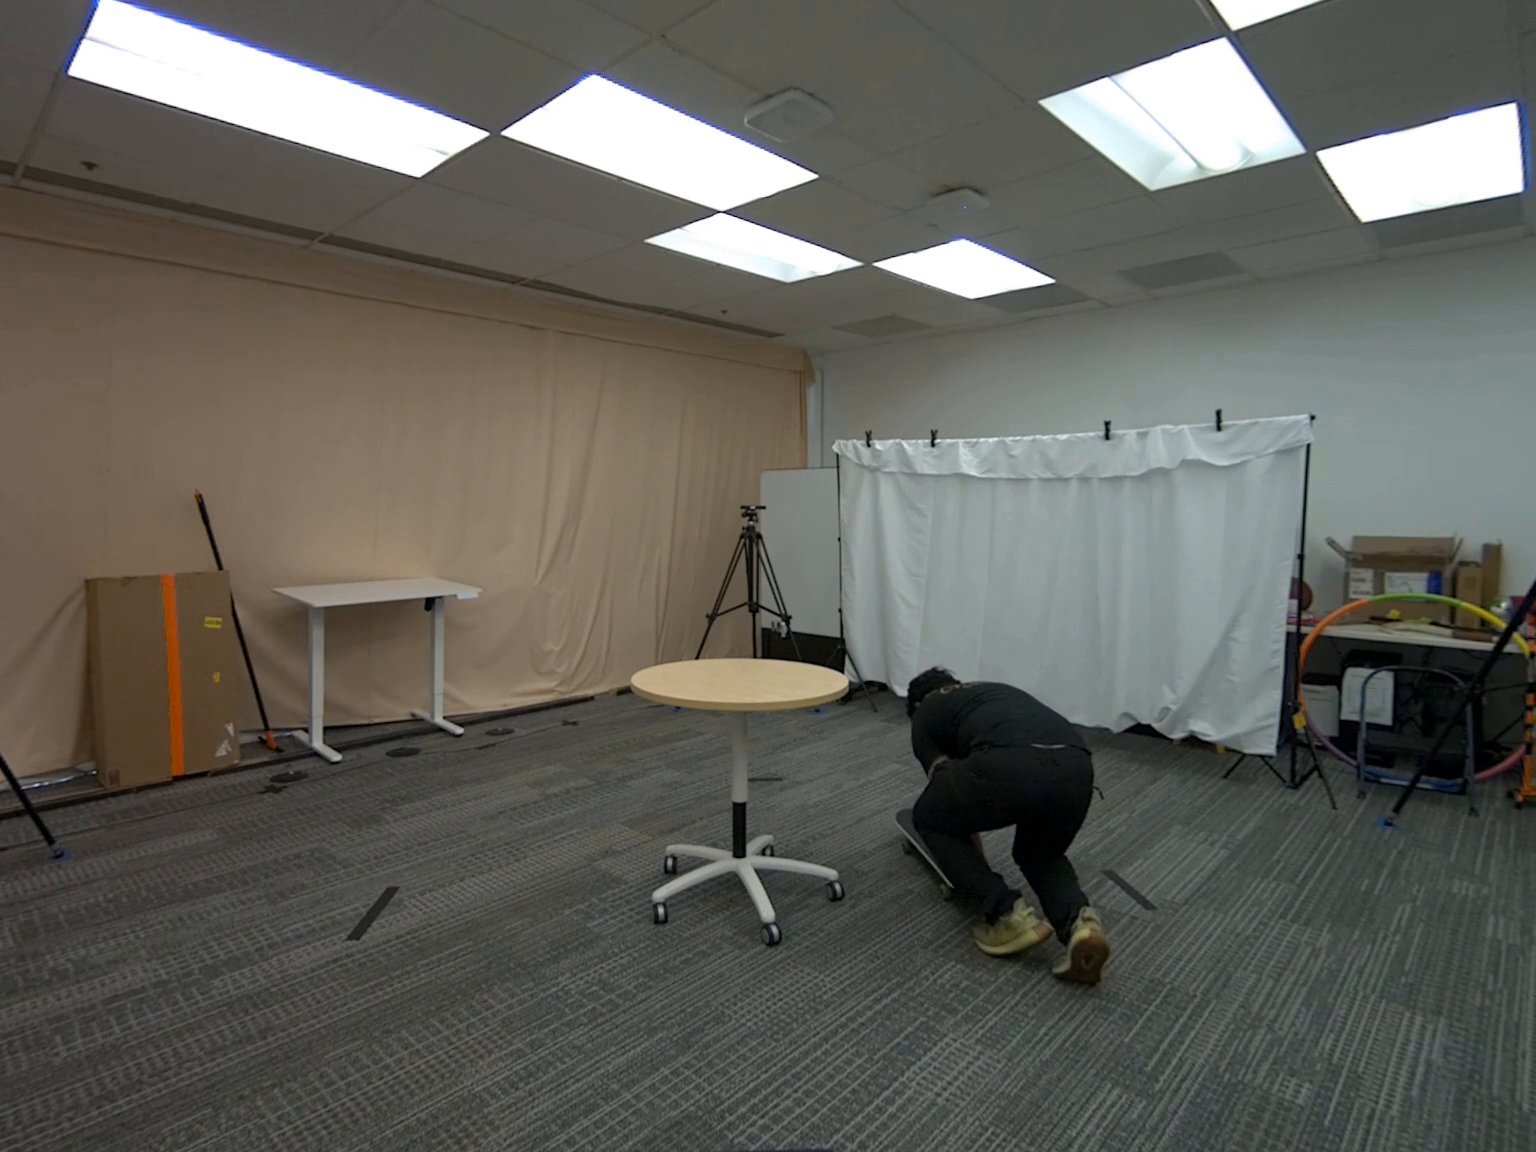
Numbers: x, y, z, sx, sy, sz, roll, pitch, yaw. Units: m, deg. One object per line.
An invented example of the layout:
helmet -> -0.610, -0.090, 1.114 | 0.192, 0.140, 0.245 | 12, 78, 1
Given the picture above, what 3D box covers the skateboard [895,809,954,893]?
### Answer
skateboard -> 0.680, 1.070, 3.182 | 0.192, 0.110, 0.794 | 3, 5, -10
